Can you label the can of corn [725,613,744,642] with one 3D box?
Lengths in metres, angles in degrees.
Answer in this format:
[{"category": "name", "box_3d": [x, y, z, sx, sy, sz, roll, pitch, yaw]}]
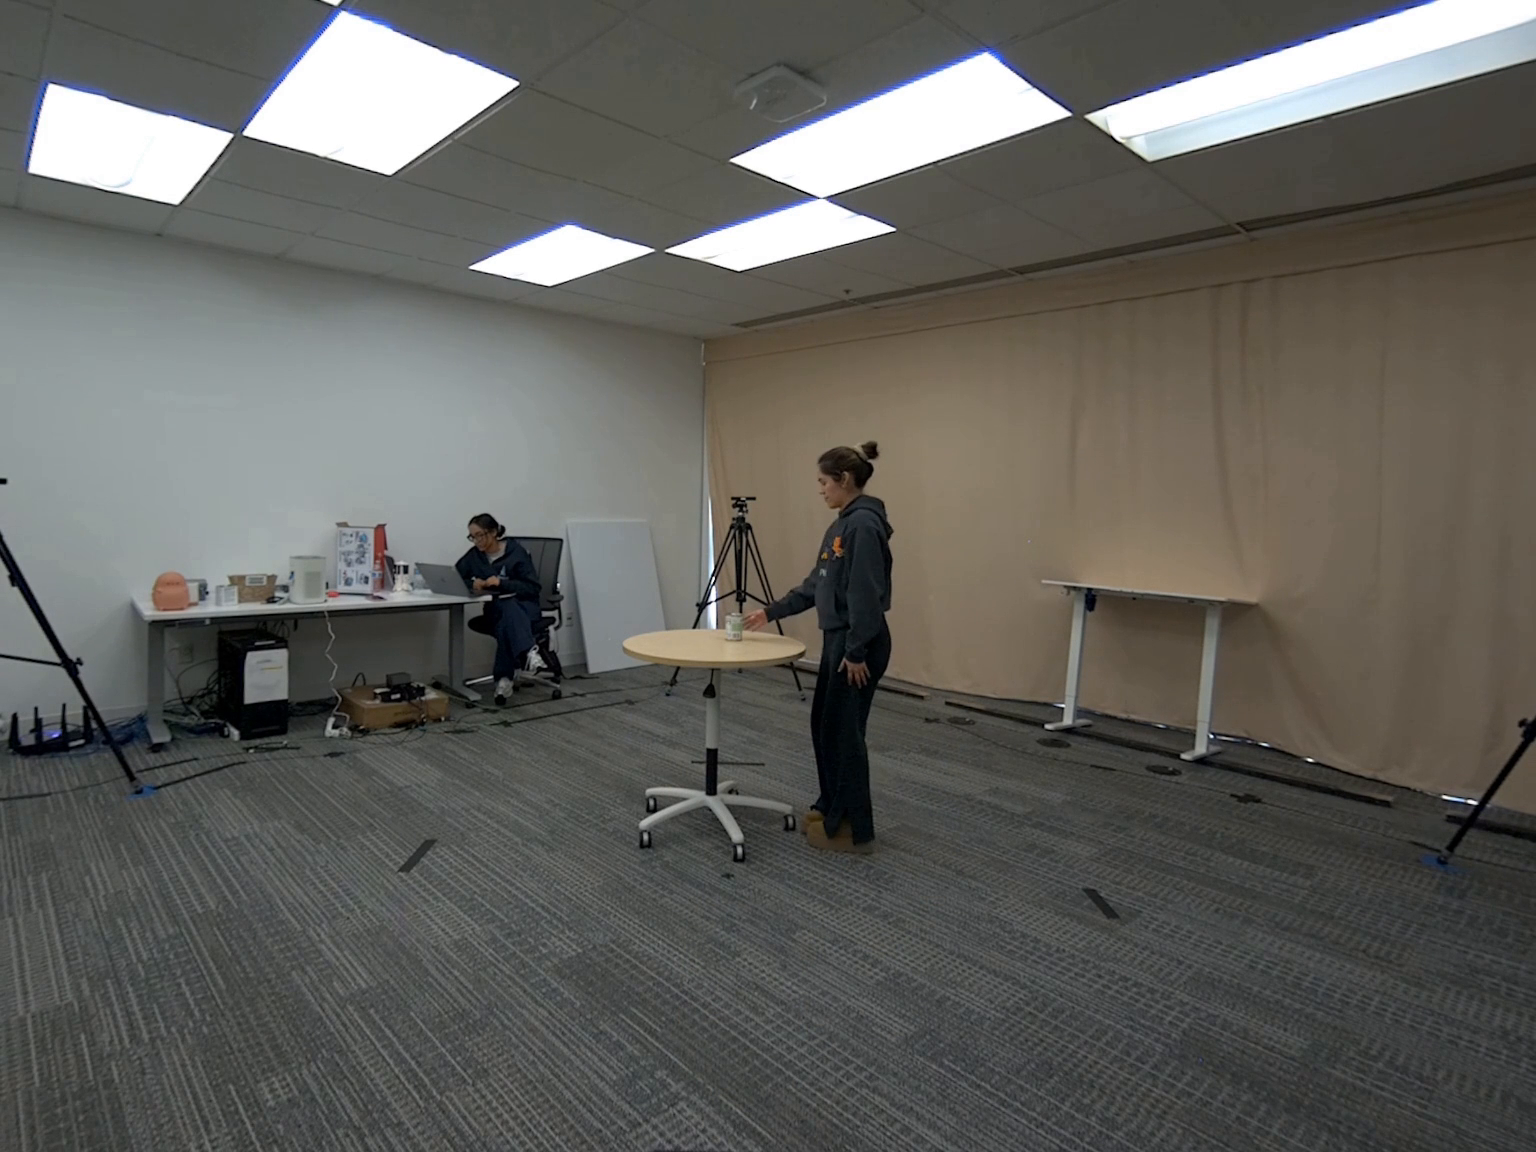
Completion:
[{"category": "can of corn", "box_3d": [-0.154, 0.222, 3.639, 0.074, 0.111, 0.074, 6, 3, -2]}]
